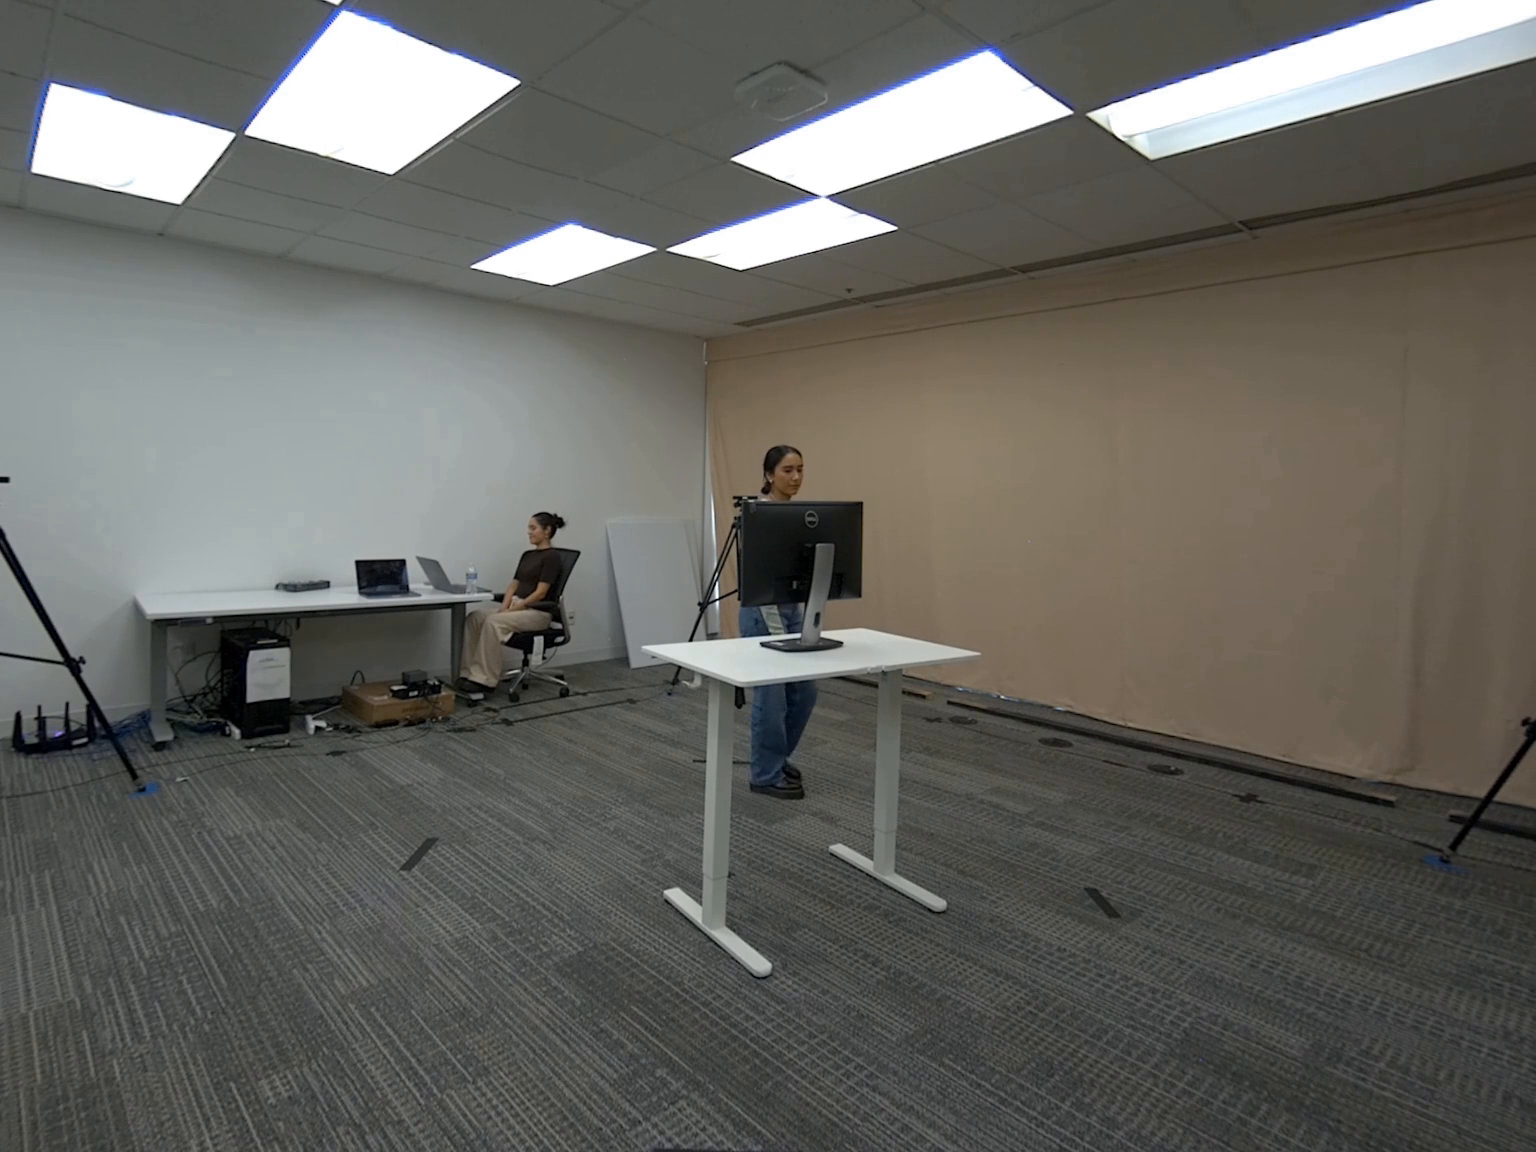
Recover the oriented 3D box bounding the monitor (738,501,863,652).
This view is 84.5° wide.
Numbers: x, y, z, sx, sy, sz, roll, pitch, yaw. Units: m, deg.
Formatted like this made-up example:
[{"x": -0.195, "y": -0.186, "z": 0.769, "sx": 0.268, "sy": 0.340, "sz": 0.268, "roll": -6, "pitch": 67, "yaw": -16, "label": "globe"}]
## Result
[{"x": 0.135, "y": 0.004, "z": 2.892, "sx": 0.527, "sy": 0.522, "sz": 0.191, "roll": -3, "pitch": 1, "yaw": -39, "label": "monitor"}]
